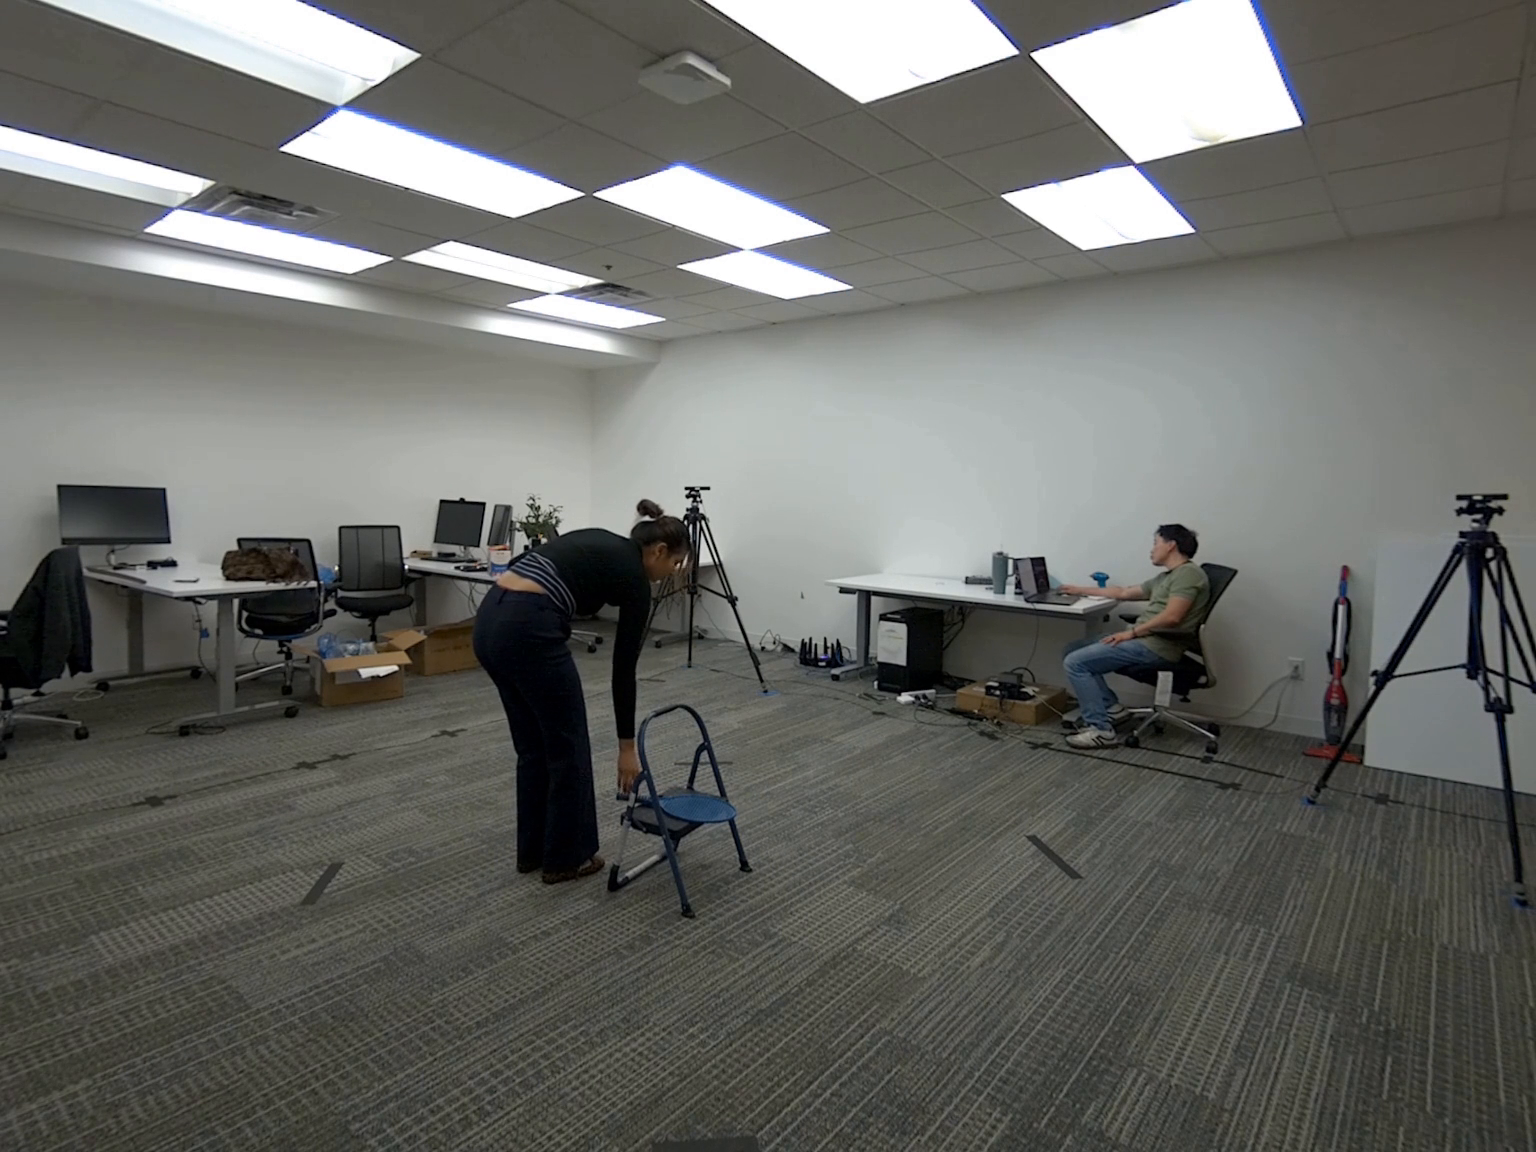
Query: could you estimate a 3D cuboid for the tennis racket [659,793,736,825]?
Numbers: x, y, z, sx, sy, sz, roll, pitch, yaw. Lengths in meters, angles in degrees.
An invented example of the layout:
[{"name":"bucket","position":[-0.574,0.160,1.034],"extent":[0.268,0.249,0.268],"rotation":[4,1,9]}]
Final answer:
[{"name":"tennis racket","position":[-0.330,0.806,2.986],"extent":[0.435,0.031,0.214],"rotation":[3,8,4]}]
